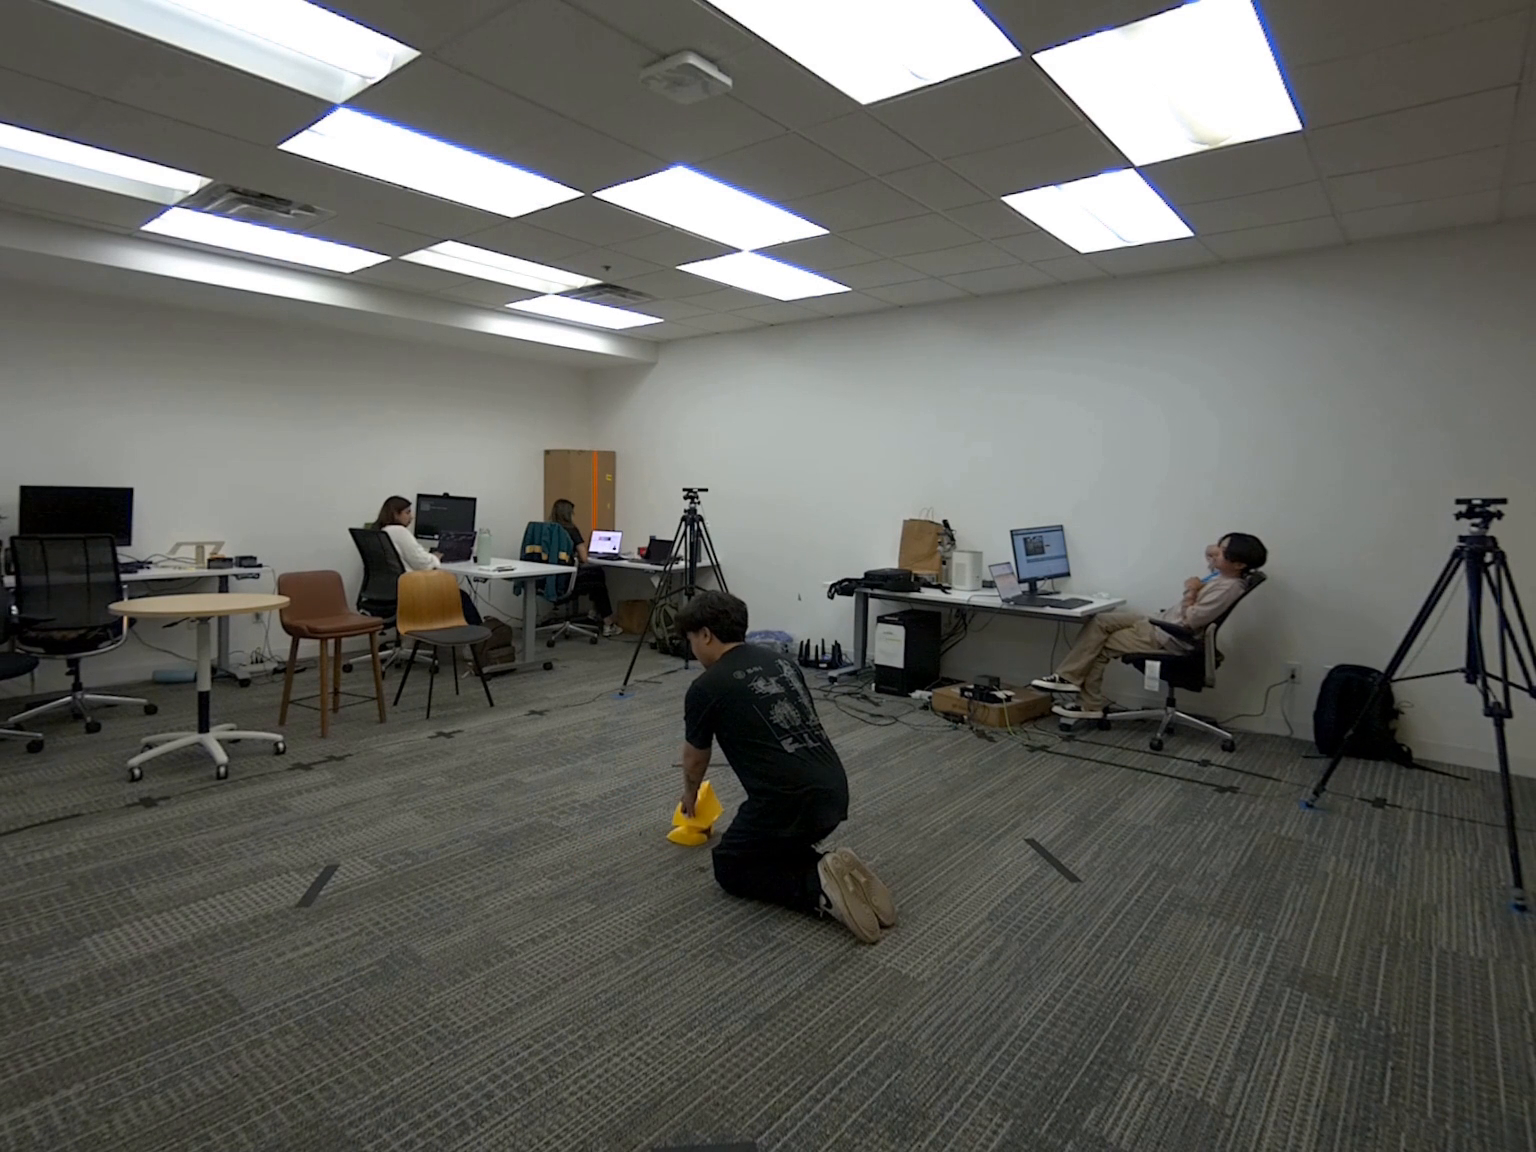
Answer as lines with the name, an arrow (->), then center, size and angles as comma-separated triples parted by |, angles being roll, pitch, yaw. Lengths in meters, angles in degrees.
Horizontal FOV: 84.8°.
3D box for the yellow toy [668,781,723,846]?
yellow toy -> -0.307, 0.926, 3.418 | 0.197, 0.230, 0.201 | 2, 3, 19
